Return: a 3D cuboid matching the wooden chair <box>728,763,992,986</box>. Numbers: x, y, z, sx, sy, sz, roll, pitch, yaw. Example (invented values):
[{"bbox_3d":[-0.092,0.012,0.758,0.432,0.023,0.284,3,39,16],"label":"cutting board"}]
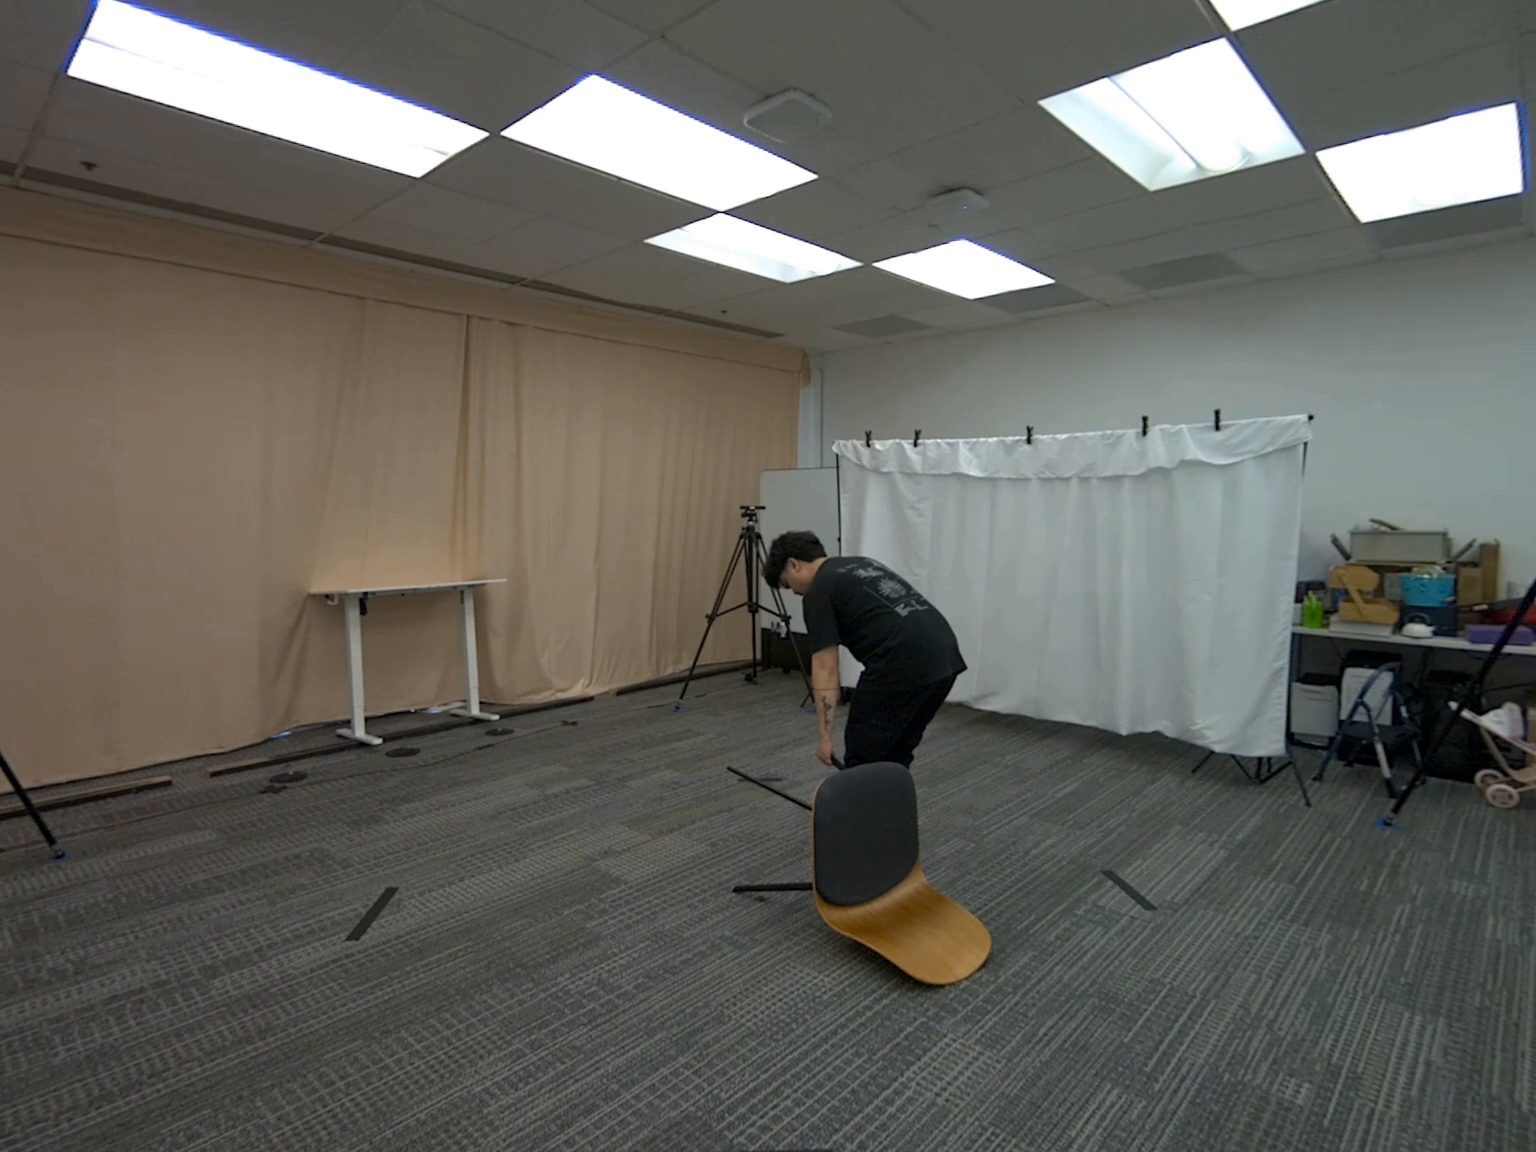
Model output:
[{"bbox_3d":[0.301,0.900,2.812,0.464,0.522,0.905,-2,5,-36],"label":"wooden chair"}]
